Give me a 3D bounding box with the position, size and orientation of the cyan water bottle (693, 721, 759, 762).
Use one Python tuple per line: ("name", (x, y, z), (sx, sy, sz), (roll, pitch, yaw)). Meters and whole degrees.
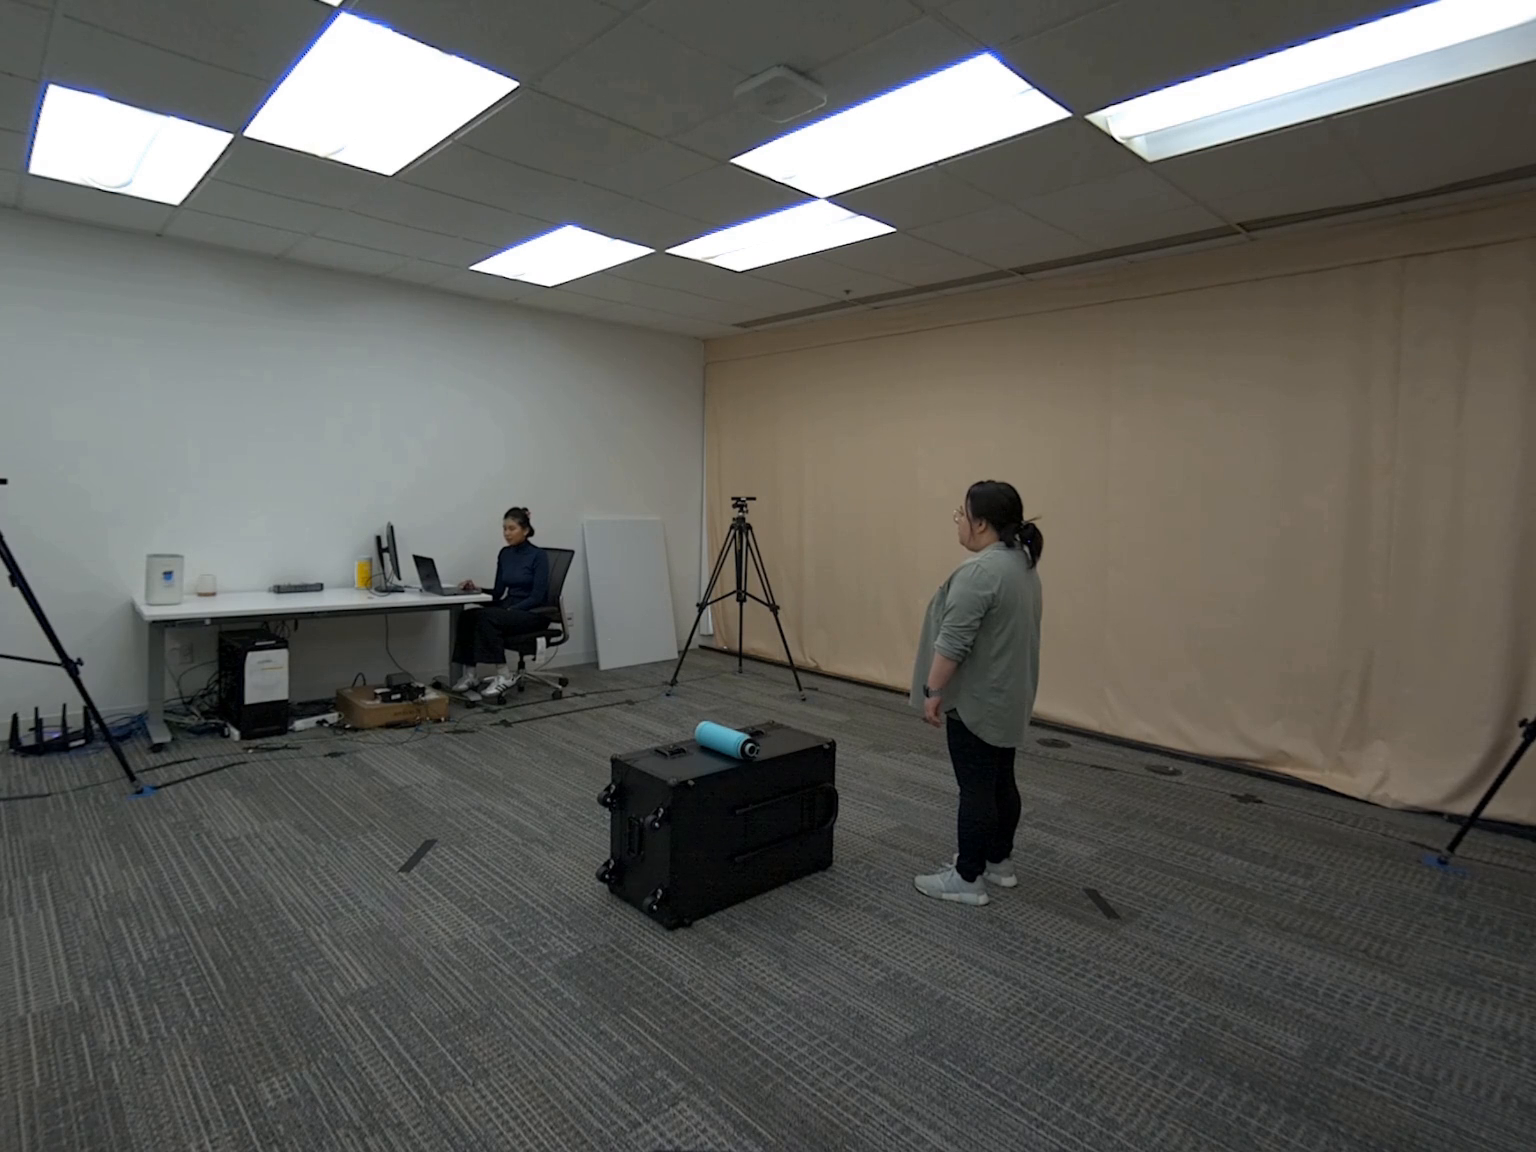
("cyan water bottle", (-0.145, 0.584, 2.994), (0.090, 0.092, 0.291), (-2, 6, -43))
